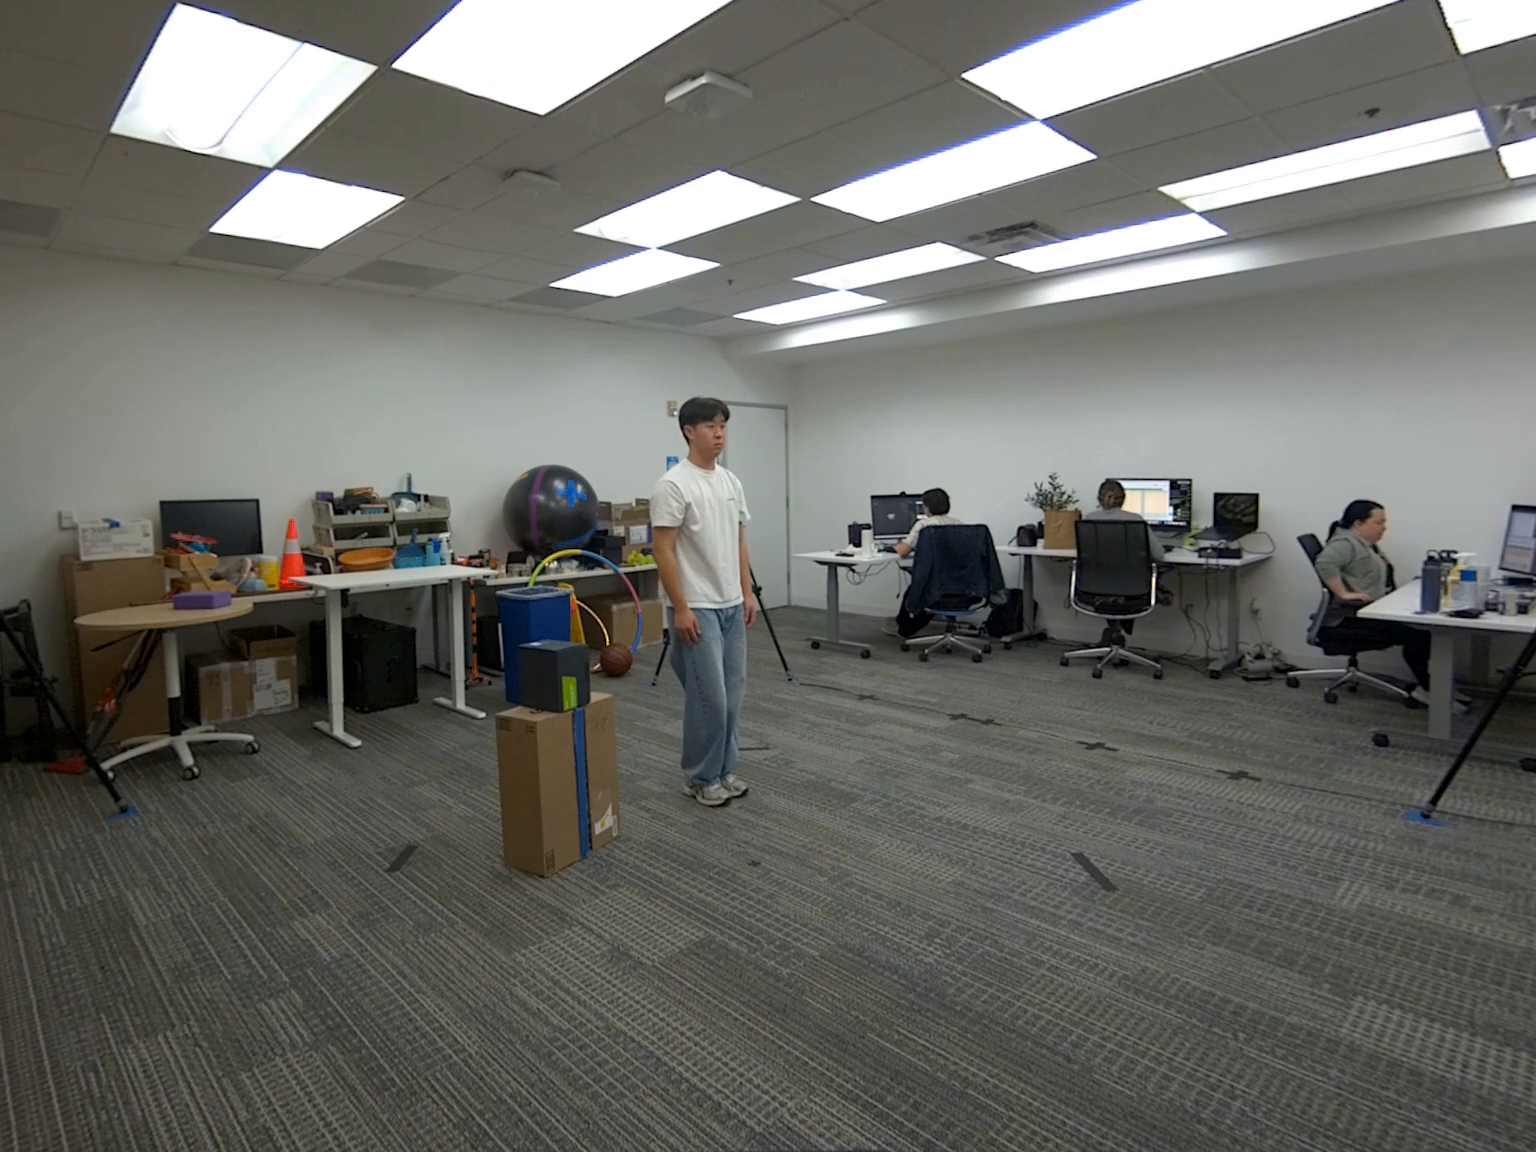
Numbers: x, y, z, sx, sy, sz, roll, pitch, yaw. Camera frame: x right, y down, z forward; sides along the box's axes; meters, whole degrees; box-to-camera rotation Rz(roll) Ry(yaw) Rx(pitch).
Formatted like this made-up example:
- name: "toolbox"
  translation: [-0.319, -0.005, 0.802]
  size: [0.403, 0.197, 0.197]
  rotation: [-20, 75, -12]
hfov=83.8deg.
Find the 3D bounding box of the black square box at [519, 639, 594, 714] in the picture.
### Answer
- name: "black square box"
  translation: [-0.789, 0.367, 3.189]
  size: [0.223, 0.227, 0.152]
  rotation: [0, 4, 34]
